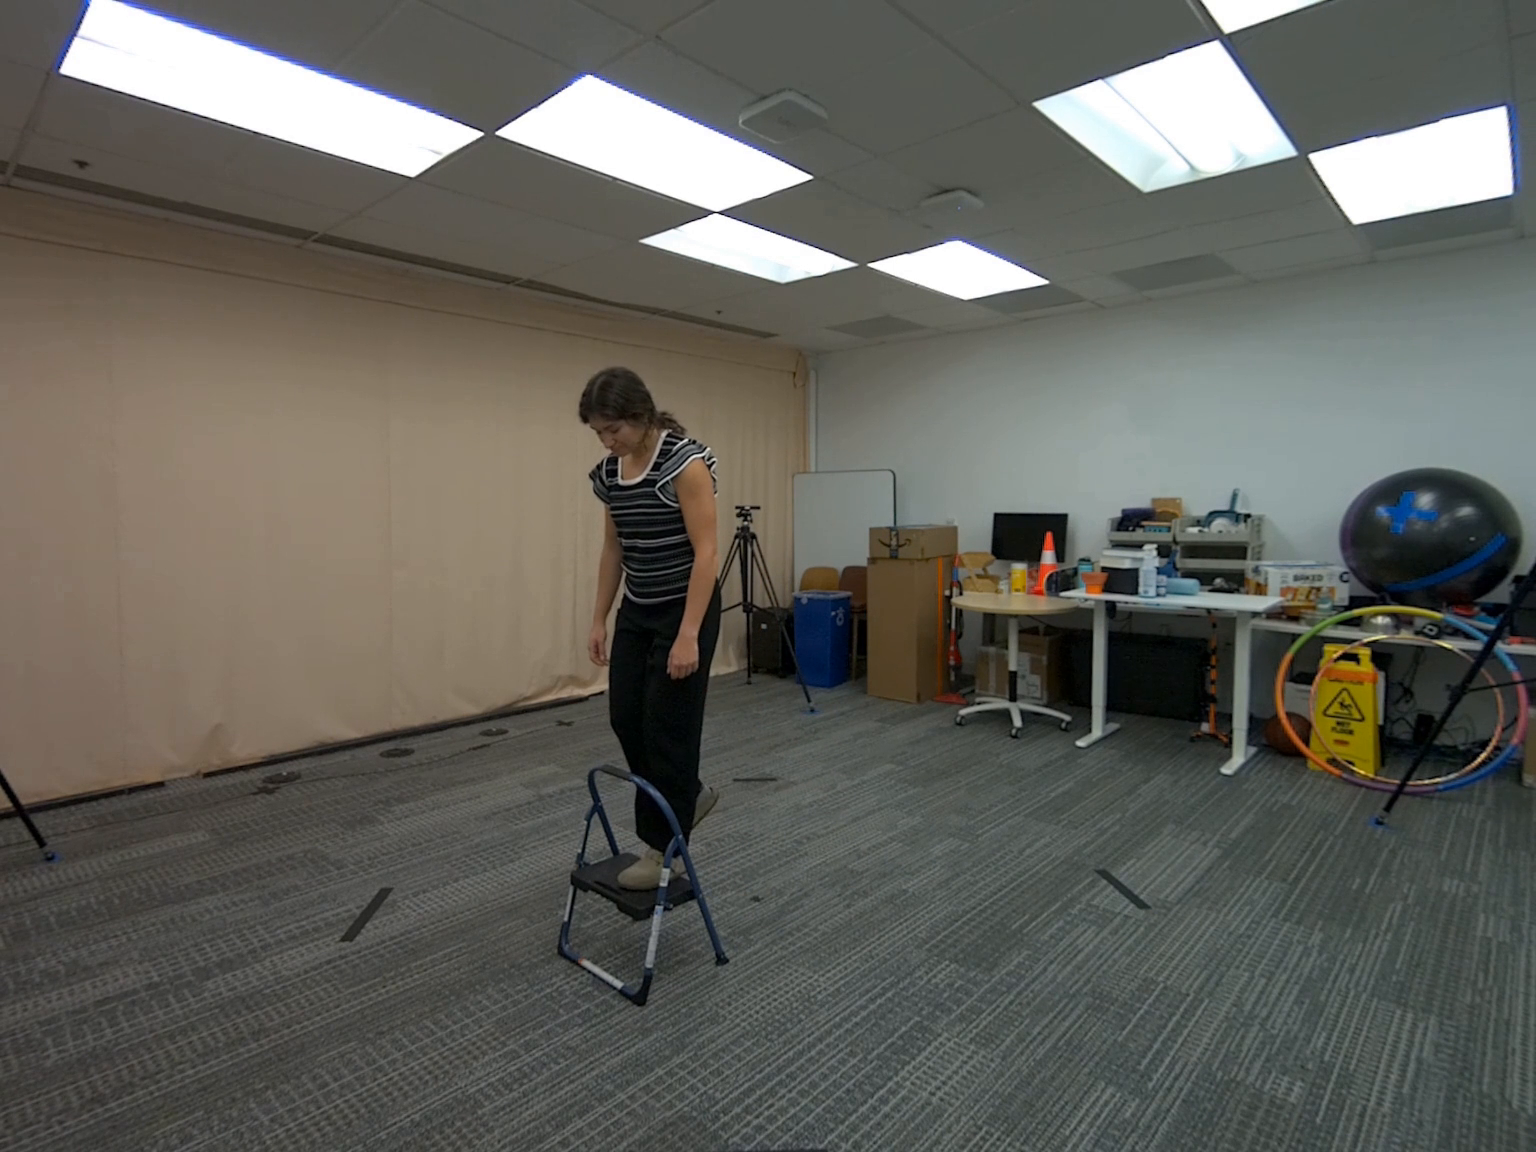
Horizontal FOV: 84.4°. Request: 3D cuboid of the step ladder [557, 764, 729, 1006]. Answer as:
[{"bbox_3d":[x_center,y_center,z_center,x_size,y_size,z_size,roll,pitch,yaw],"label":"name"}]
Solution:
[{"bbox_3d":[-0.394,0.879,2.586,0.445,0.605,0.338,3,4,42],"label":"step ladder"}]
